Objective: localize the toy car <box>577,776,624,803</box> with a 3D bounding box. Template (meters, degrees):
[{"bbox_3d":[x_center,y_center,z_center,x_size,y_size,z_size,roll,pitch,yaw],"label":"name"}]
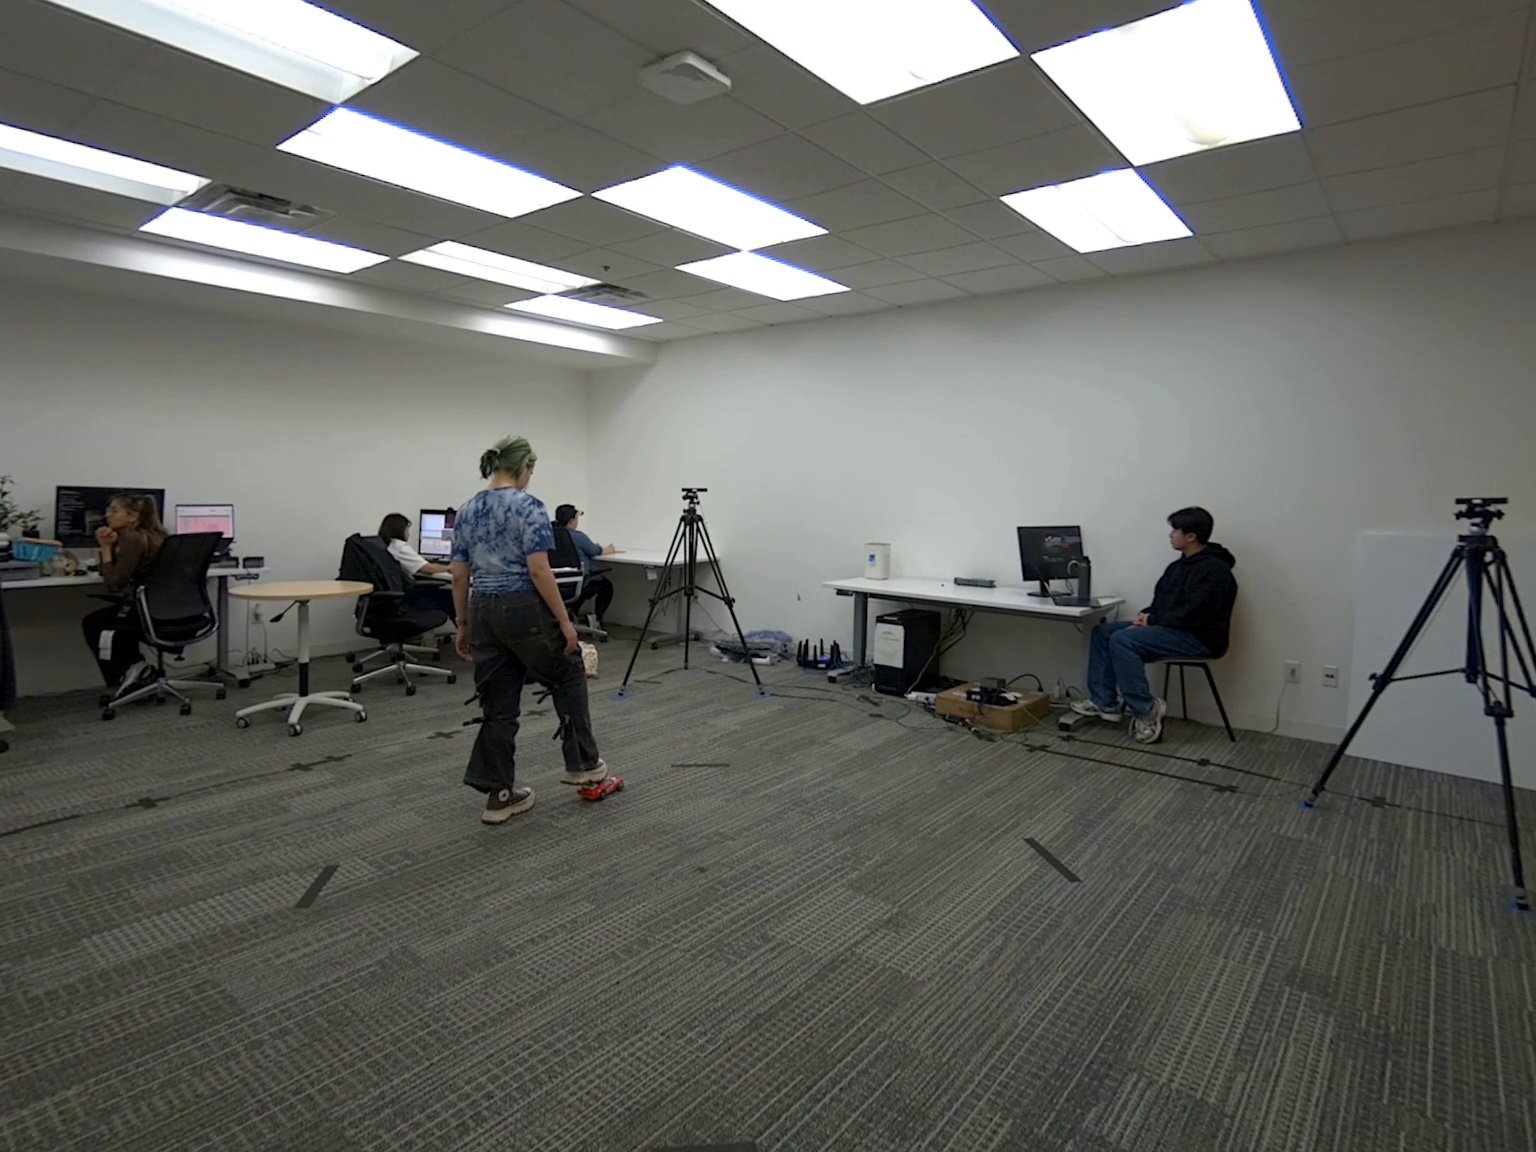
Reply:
[{"bbox_3d":[-0.780,0.962,3.858,0.134,0.083,0.247,1,-5,26],"label":"toy car"}]
